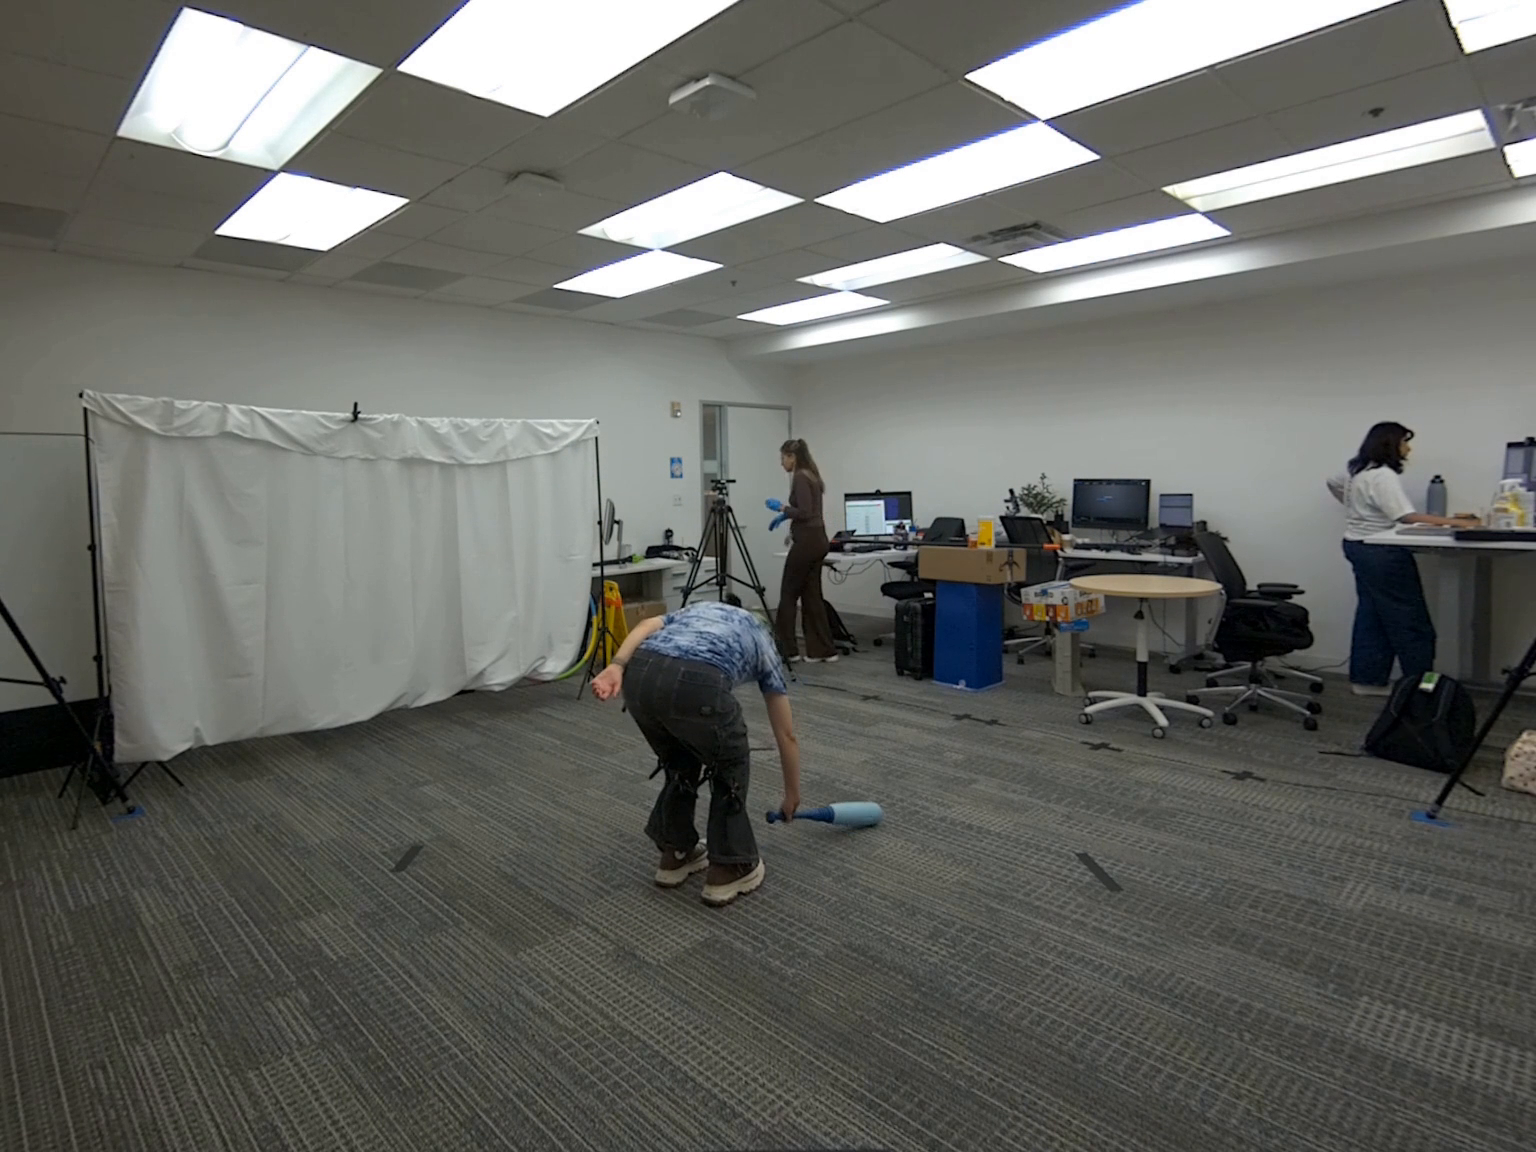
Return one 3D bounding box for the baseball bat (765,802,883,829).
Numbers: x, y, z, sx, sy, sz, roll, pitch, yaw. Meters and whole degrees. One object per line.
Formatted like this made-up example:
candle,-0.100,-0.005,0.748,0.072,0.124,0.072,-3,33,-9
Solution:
baseball bat,0.225,0.925,3.315,0.527,0.089,0.091,6,0,-32
